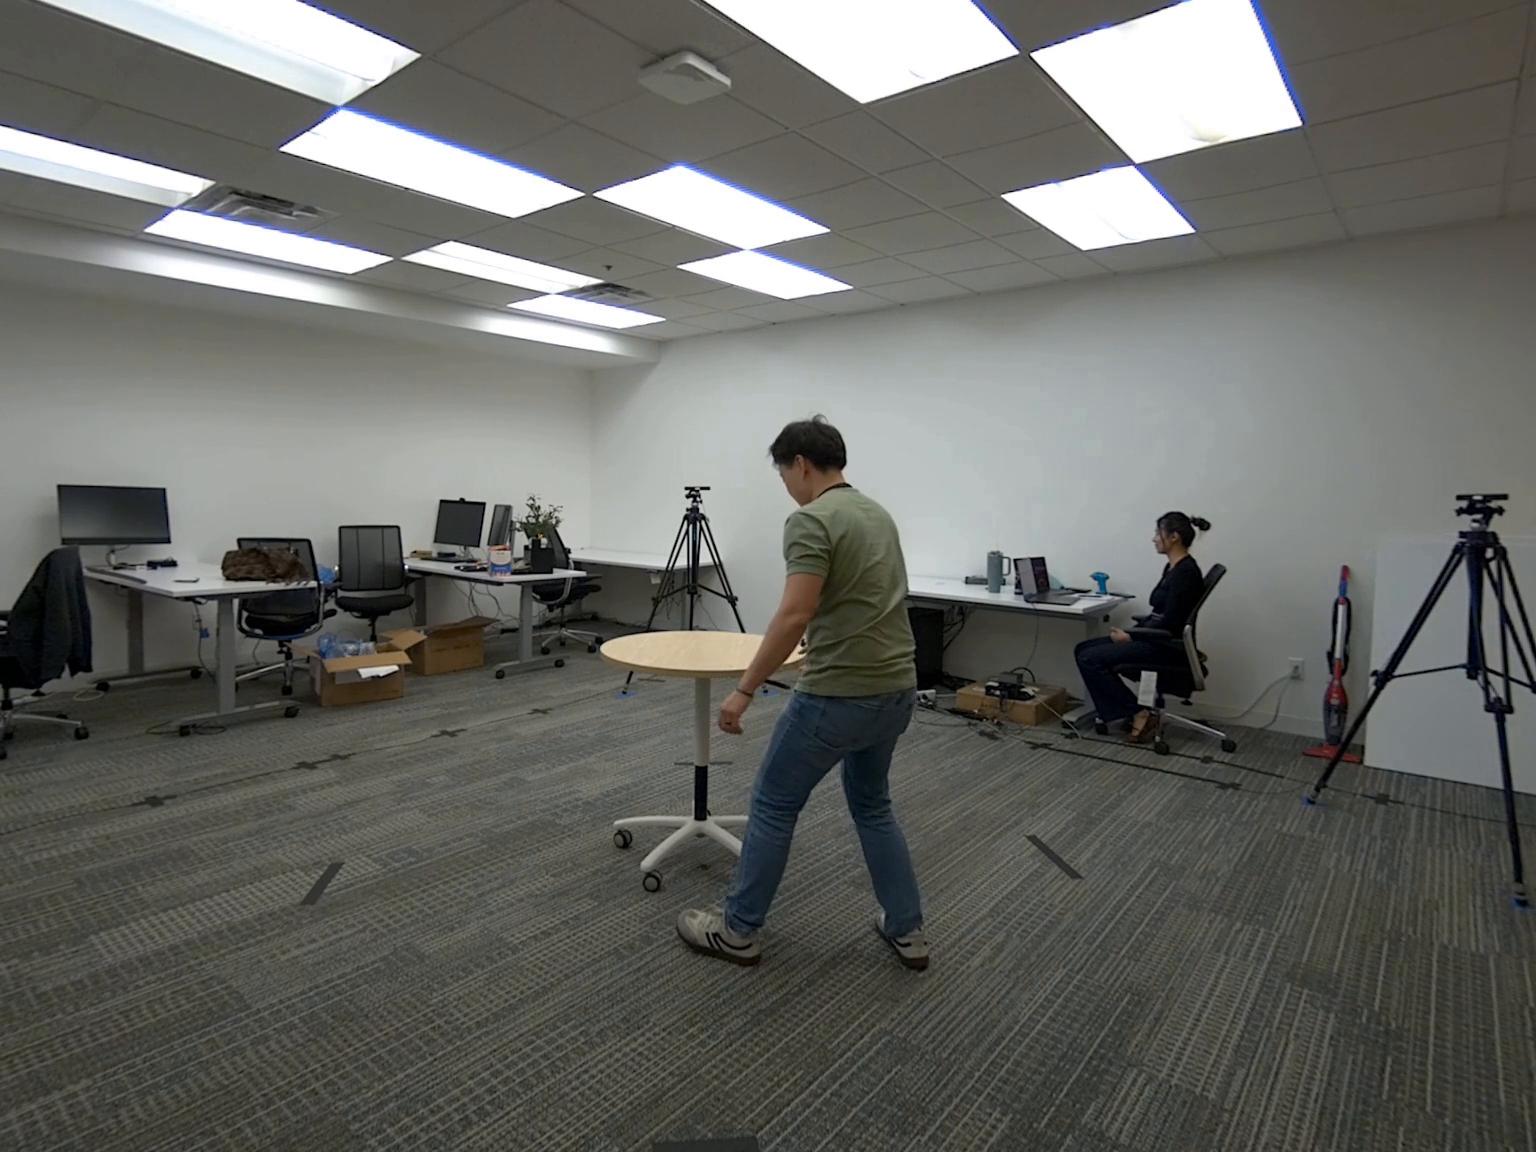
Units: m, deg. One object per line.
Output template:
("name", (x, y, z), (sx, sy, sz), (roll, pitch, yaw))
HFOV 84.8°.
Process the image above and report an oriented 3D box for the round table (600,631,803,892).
("round table", (-0.264, 0.664, 3.198), (0.763, 0.792, 0.767), (1, 4, -2))
